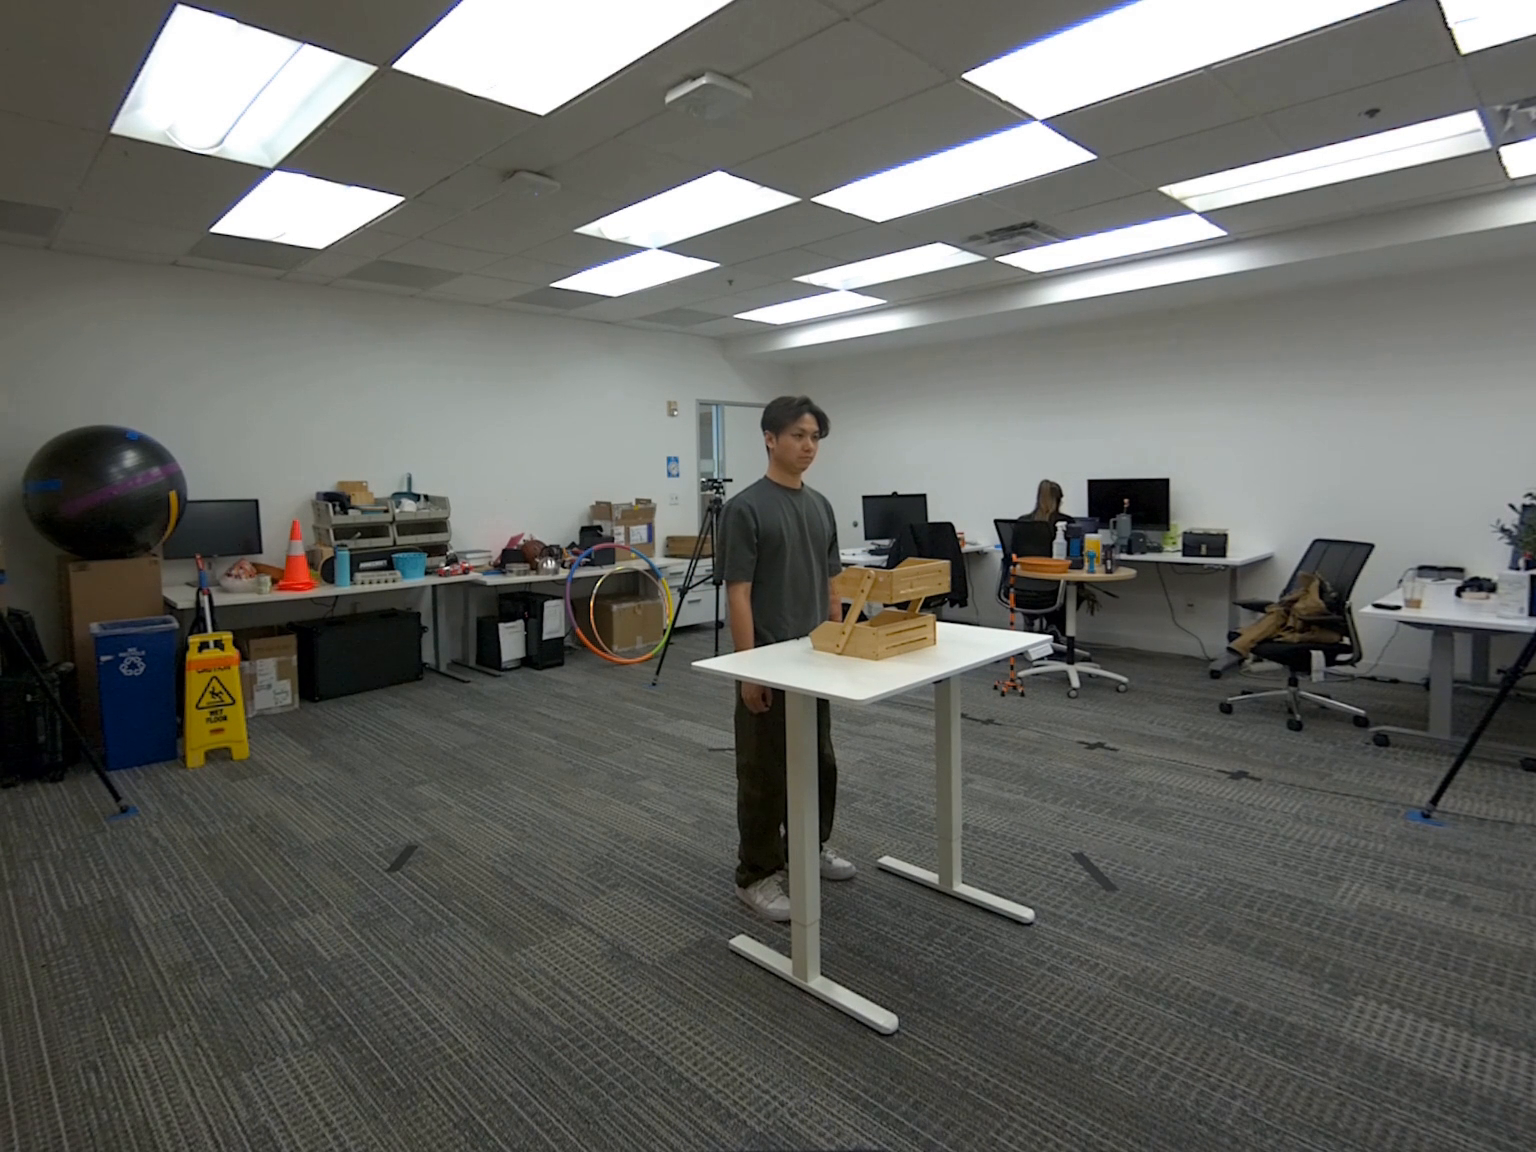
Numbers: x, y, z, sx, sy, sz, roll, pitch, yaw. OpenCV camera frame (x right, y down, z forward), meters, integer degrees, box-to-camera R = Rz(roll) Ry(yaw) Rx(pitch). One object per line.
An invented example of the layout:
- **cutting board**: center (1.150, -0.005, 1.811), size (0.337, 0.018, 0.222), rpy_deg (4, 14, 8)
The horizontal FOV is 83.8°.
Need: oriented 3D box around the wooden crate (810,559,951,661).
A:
- **wooden crate**: center (0.337, 0.085, 2.557), size (0.311, 0.272, 0.316), rpy_deg (5, 9, 45)
